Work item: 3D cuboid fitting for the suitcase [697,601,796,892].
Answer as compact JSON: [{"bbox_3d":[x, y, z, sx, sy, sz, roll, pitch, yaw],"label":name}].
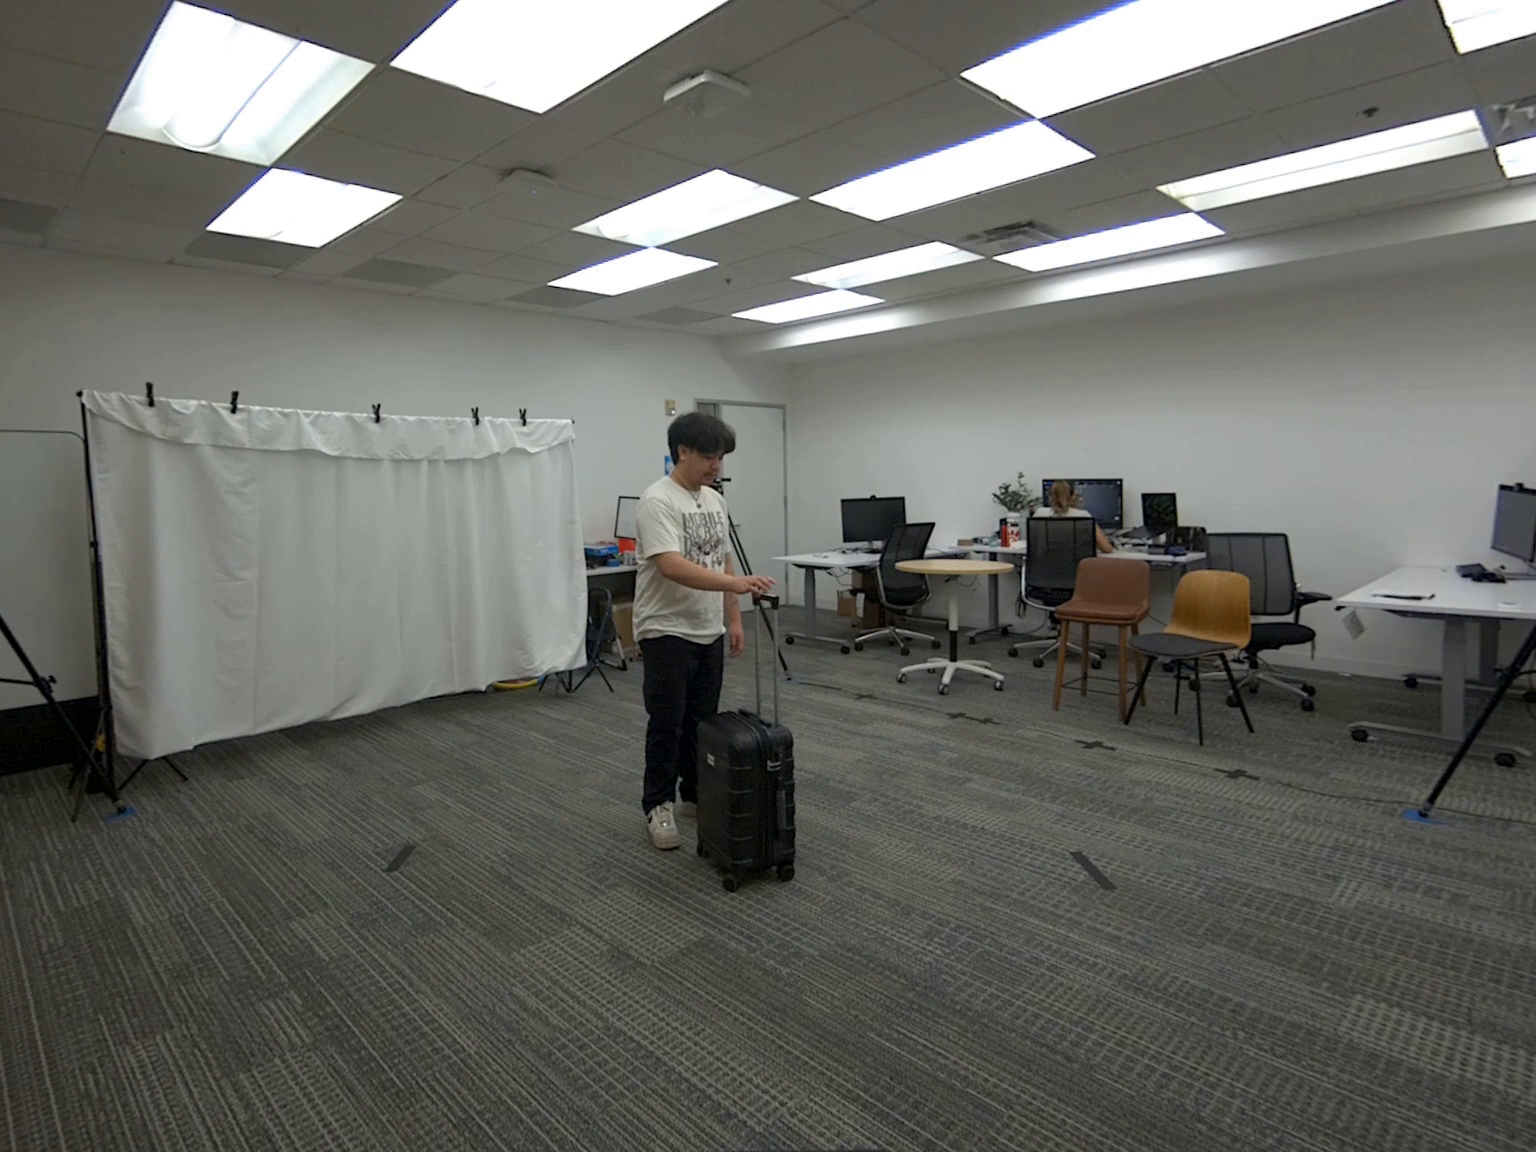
[{"bbox_3d":[-0.087,0.577,3.043,0.252,0.976,0.392,-4,3,-22],"label":"suitcase"}]
